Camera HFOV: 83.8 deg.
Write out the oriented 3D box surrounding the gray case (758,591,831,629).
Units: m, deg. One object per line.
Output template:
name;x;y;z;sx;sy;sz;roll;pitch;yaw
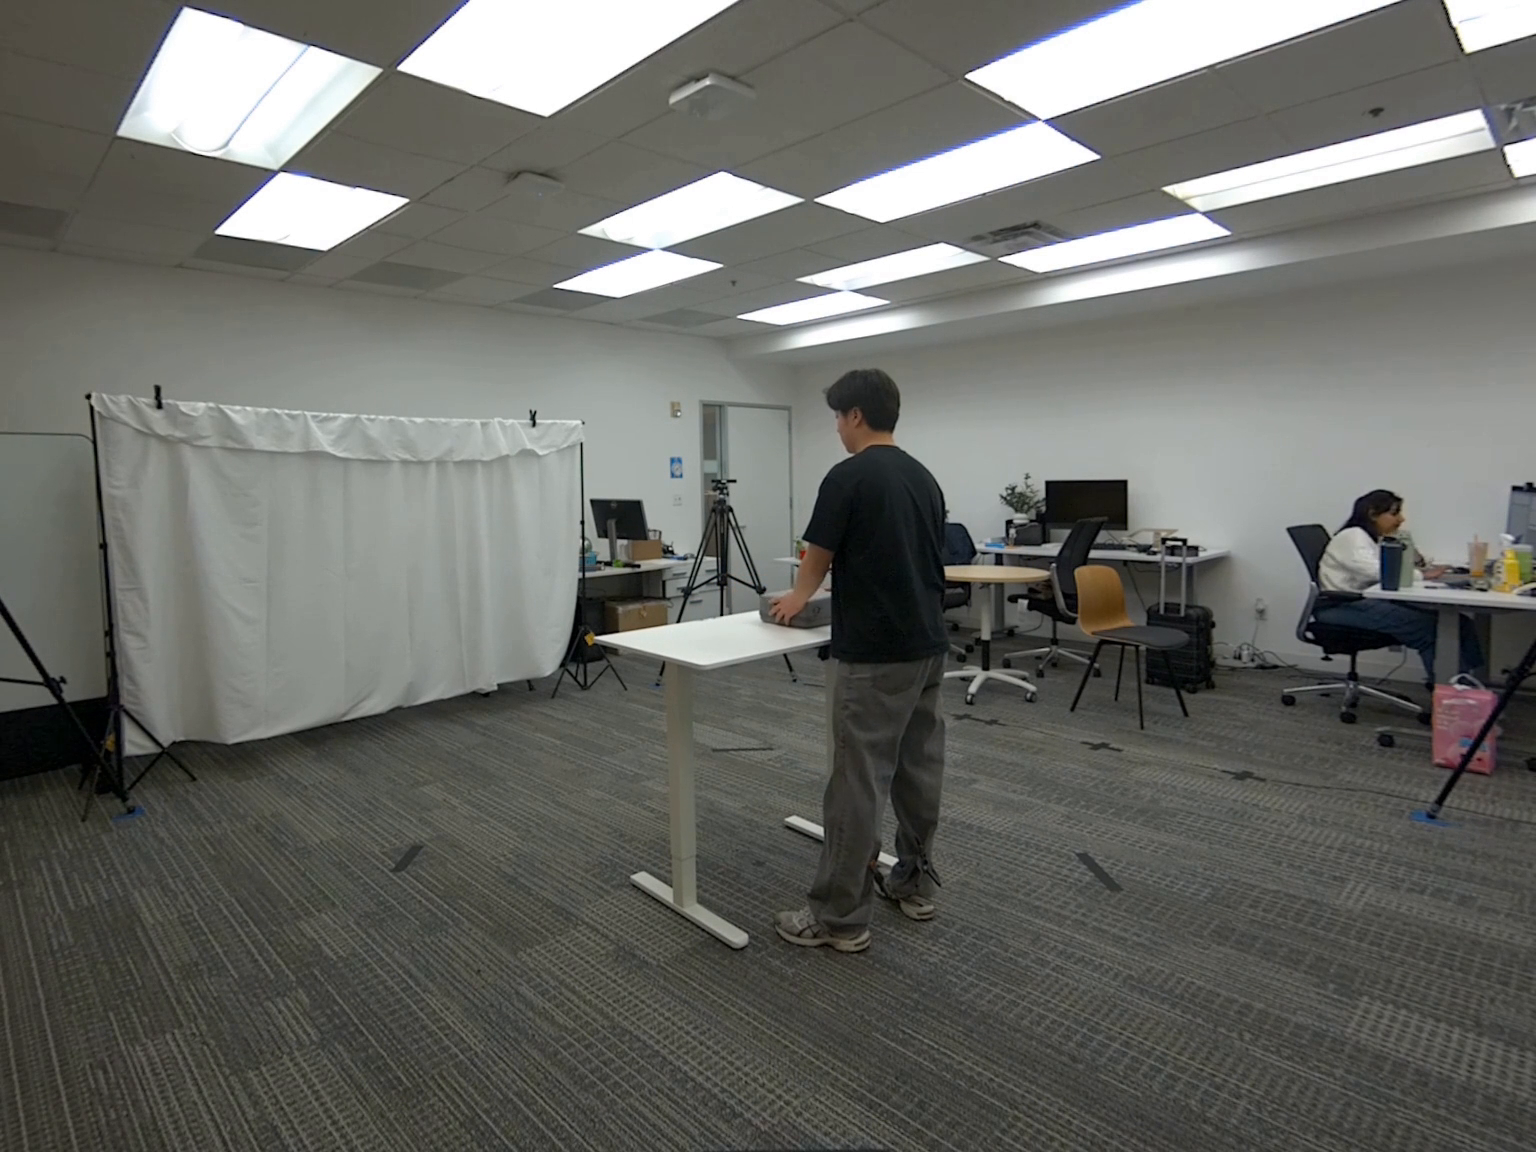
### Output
gray case;0.124;0.112;3.070;0.280;0.102;0.271;-7;8;-42
